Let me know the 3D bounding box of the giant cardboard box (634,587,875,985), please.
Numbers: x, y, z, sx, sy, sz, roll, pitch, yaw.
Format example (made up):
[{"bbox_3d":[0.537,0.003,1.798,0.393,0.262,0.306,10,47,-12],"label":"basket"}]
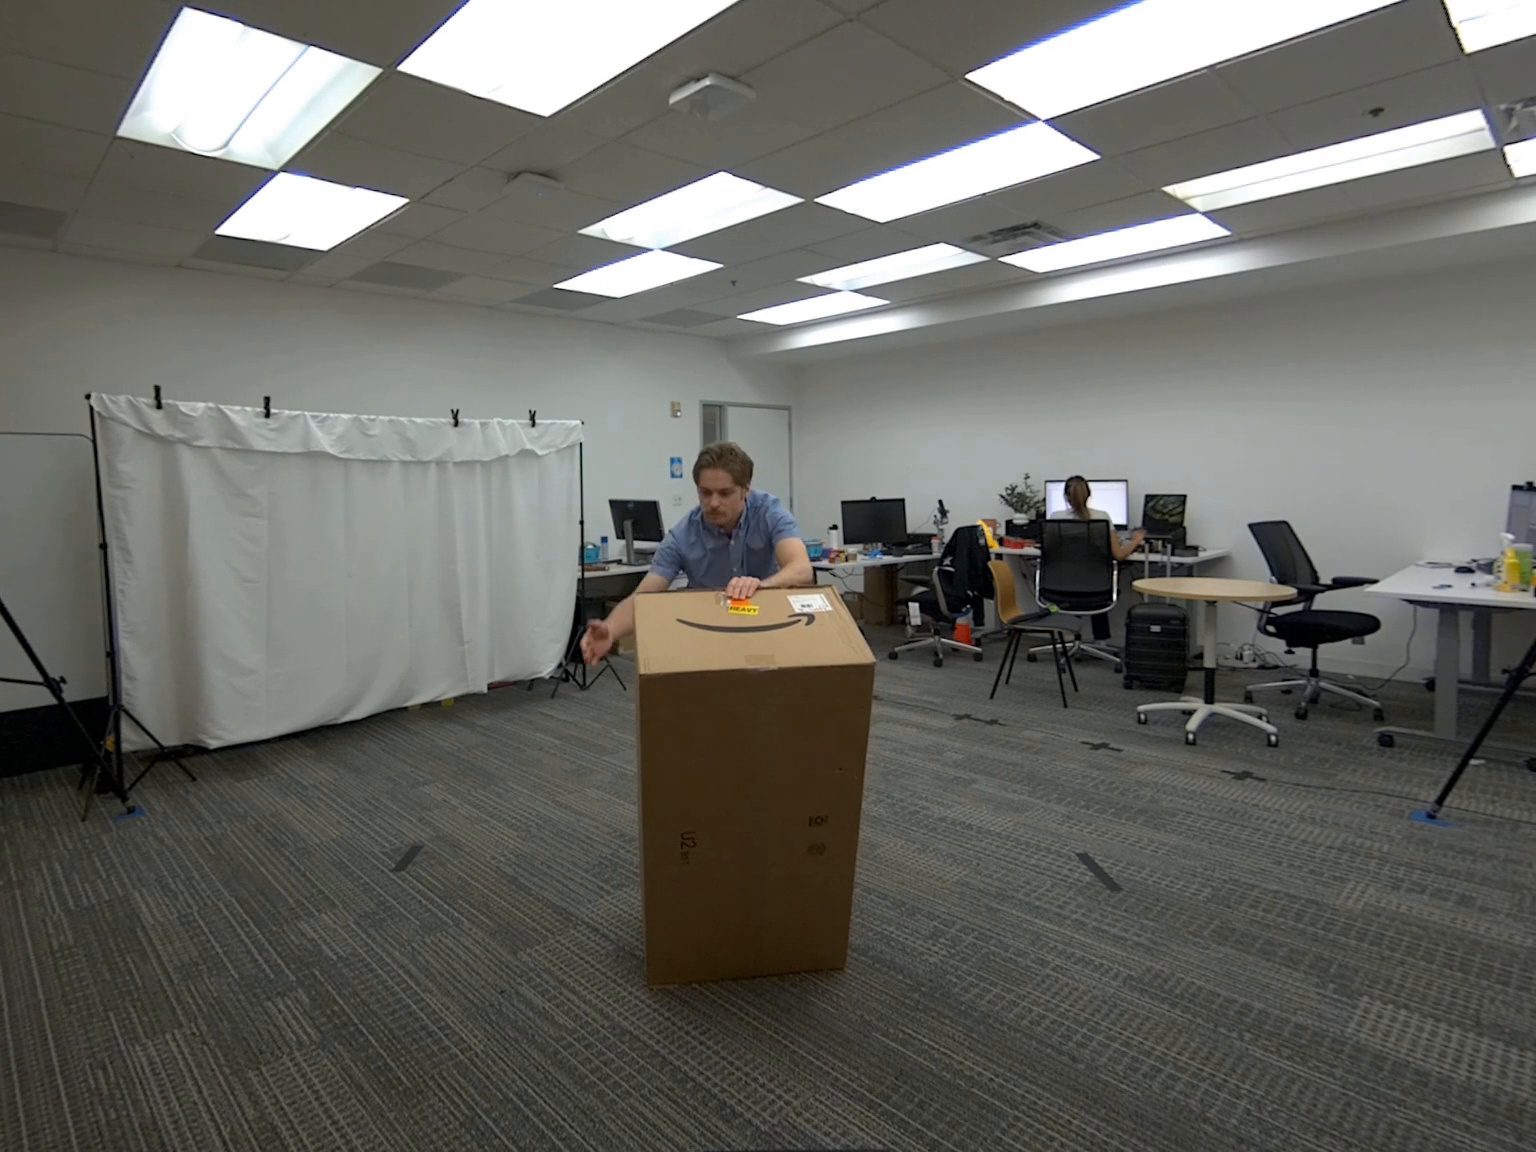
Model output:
[{"bbox_3d":[-0.074,0.585,2.393,0.580,1.008,0.458,-1,23,-7],"label":"giant cardboard box"}]
